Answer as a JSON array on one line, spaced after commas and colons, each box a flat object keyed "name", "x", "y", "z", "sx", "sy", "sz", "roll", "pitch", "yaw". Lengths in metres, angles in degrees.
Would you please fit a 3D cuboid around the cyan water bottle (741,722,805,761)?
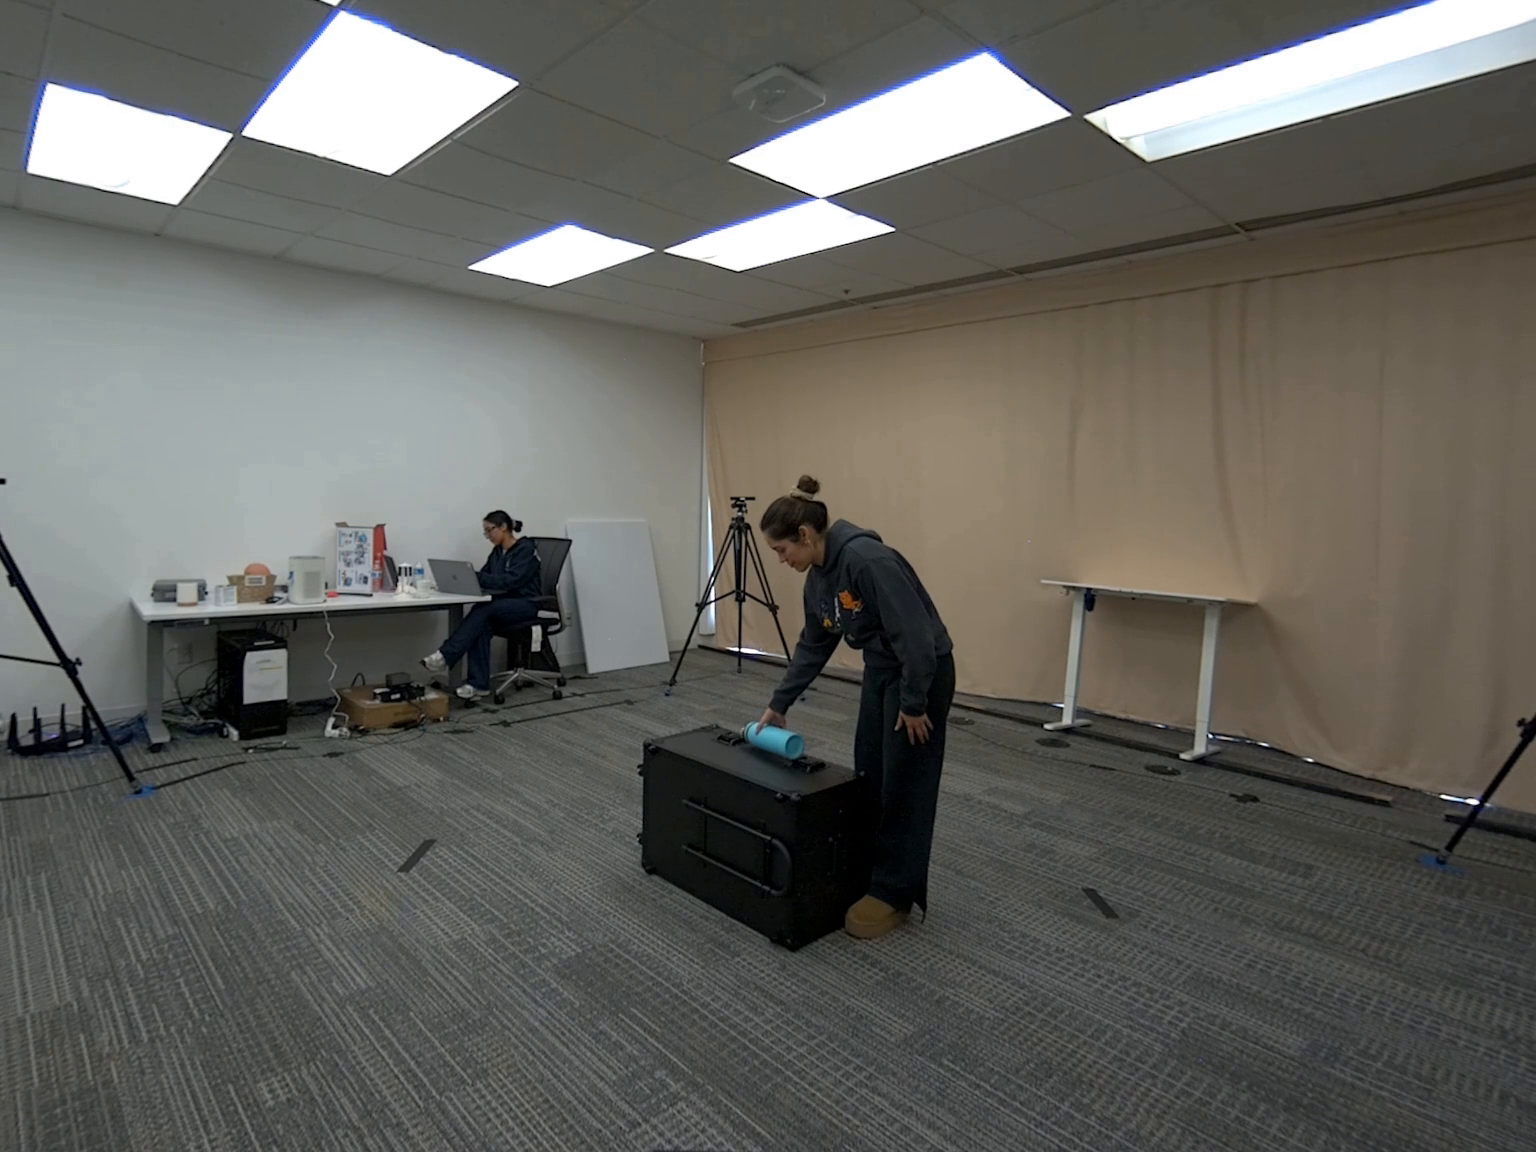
[{"name": "cyan water bottle", "x": 0.002, "y": 0.578, "z": 3.005, "sx": 0.090, "sy": 0.092, "sz": 0.290, "roll": -2, "pitch": 3, "yaw": -36}]
